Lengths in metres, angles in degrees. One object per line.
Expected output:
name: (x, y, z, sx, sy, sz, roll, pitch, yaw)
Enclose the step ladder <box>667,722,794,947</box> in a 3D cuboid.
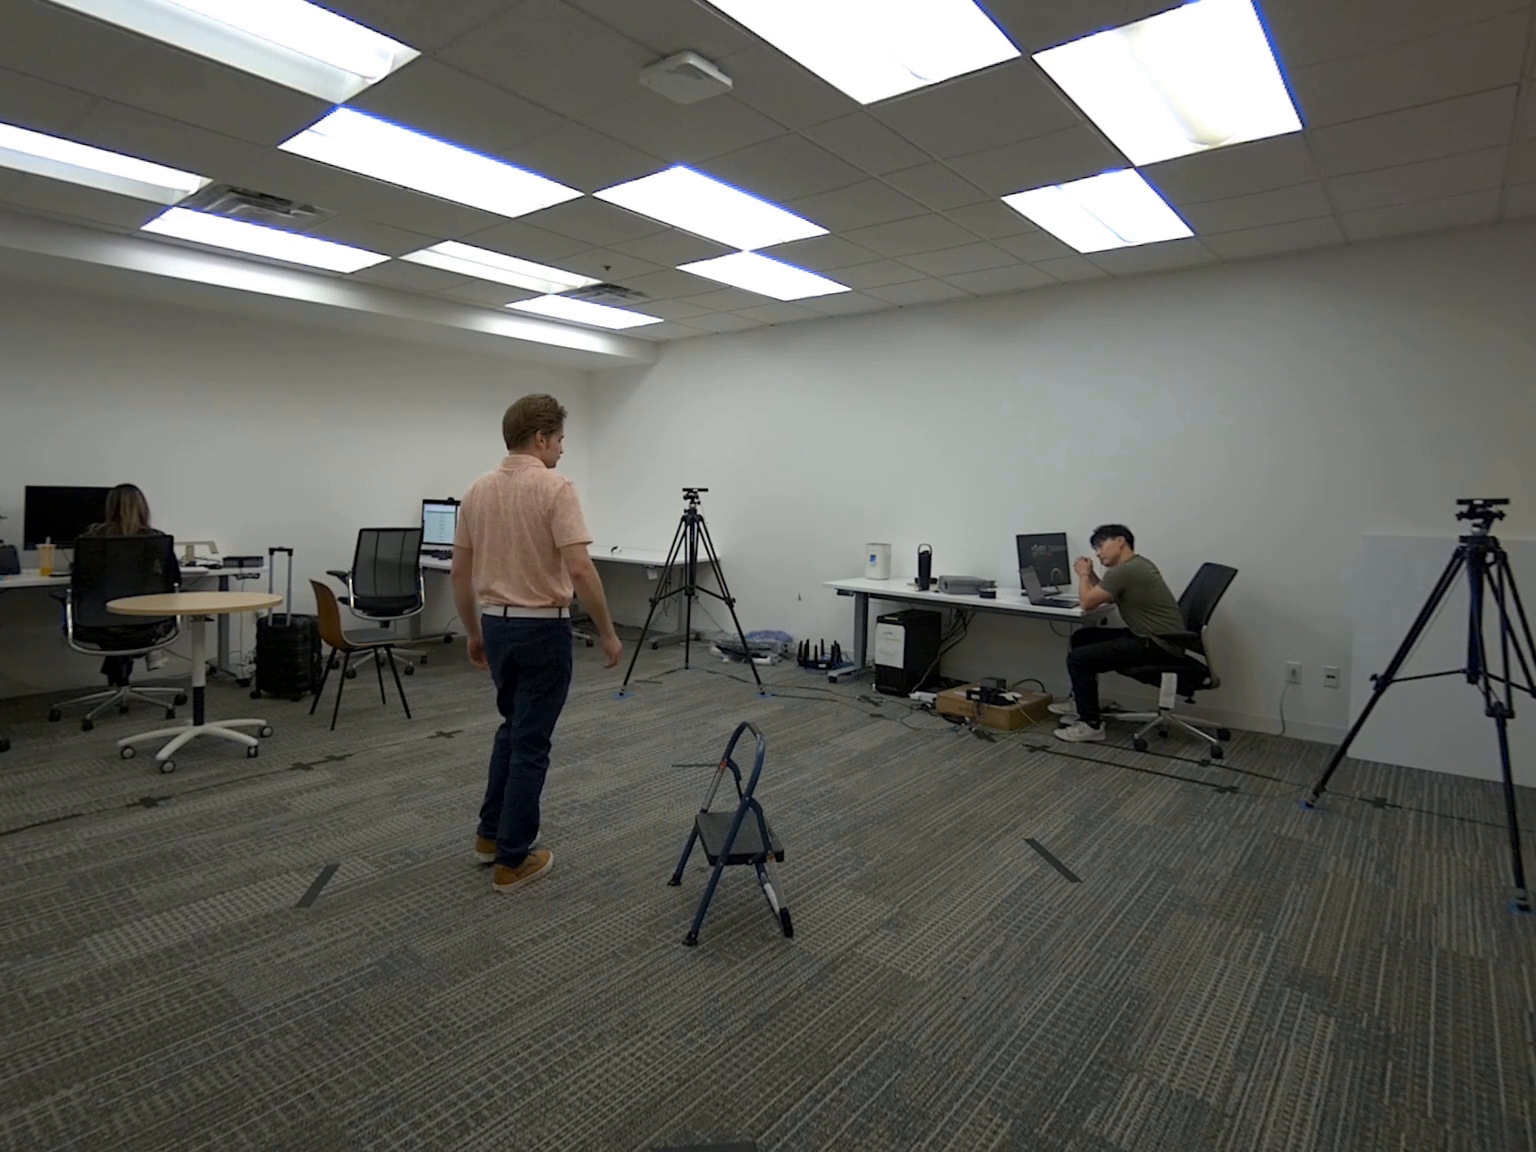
step ladder: (-0.125, 0.800, 2.798, 0.345, 0.604, 0.438, 1, 4, -13)
